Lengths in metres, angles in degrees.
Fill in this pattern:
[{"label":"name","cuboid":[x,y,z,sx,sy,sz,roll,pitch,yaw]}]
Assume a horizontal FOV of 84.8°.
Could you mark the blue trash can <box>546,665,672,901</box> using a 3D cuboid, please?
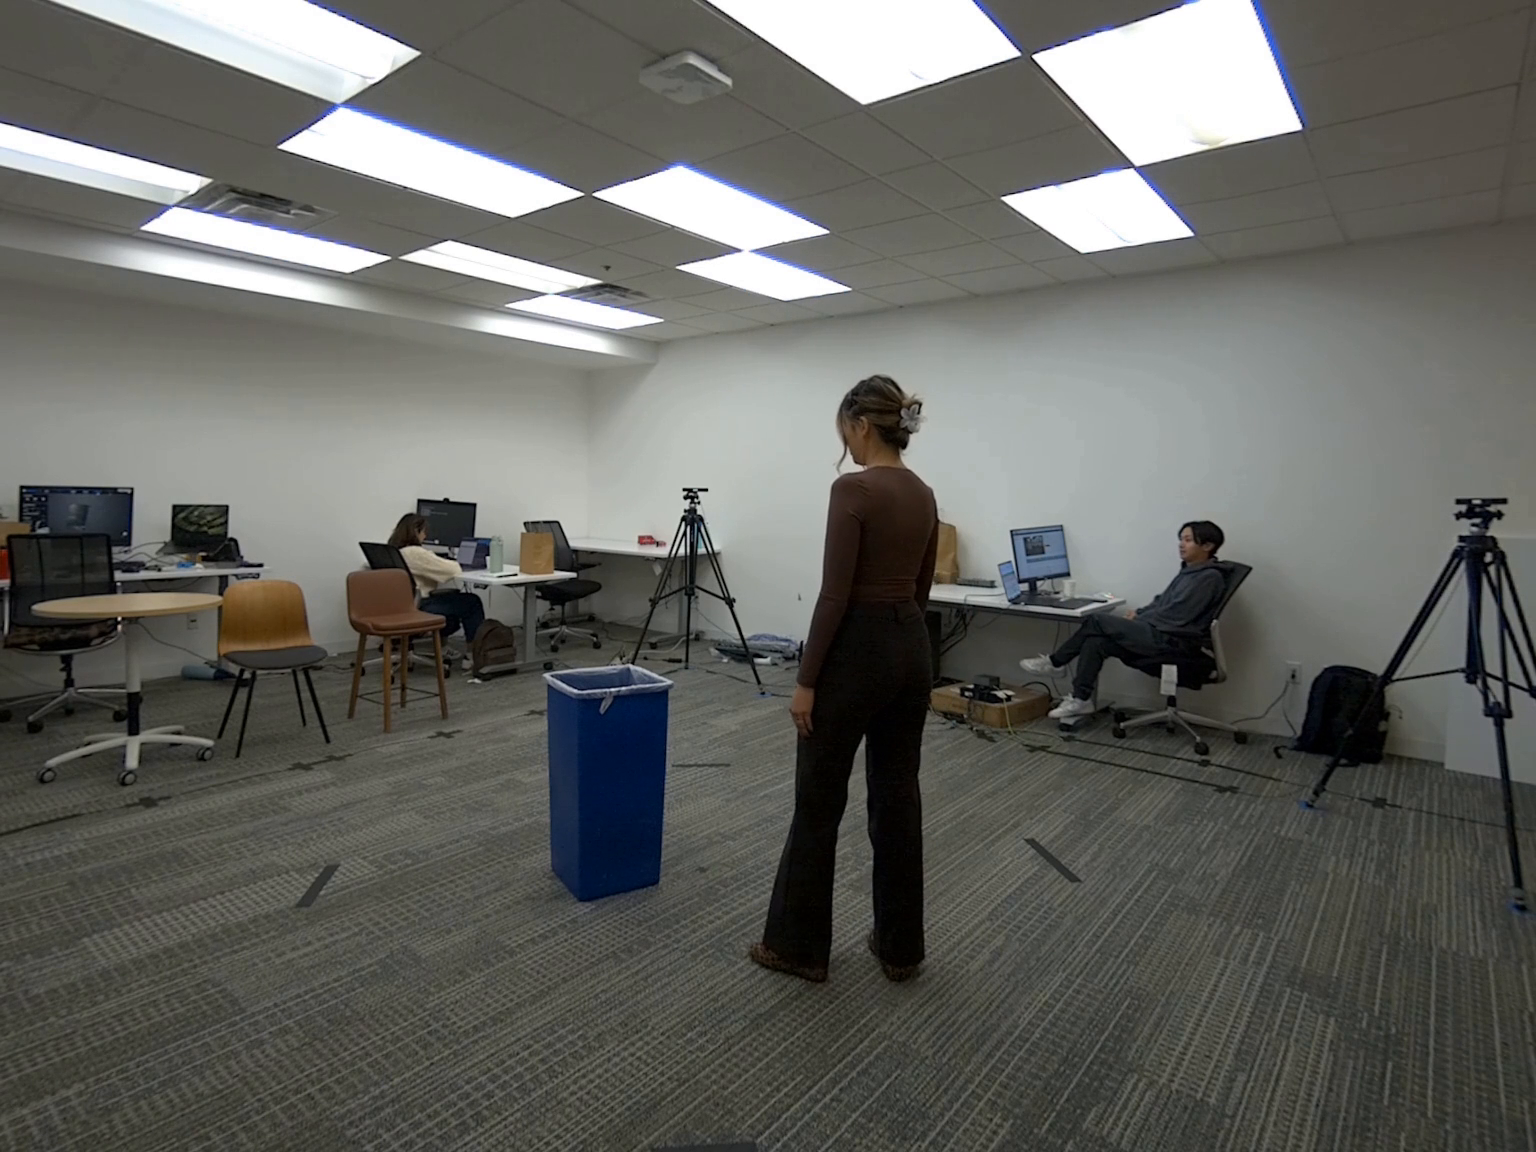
[{"label":"blue trash can","cuboid":[-0.593,0.712,3.029,0.367,0.712,0.386,0,3,-33]}]
